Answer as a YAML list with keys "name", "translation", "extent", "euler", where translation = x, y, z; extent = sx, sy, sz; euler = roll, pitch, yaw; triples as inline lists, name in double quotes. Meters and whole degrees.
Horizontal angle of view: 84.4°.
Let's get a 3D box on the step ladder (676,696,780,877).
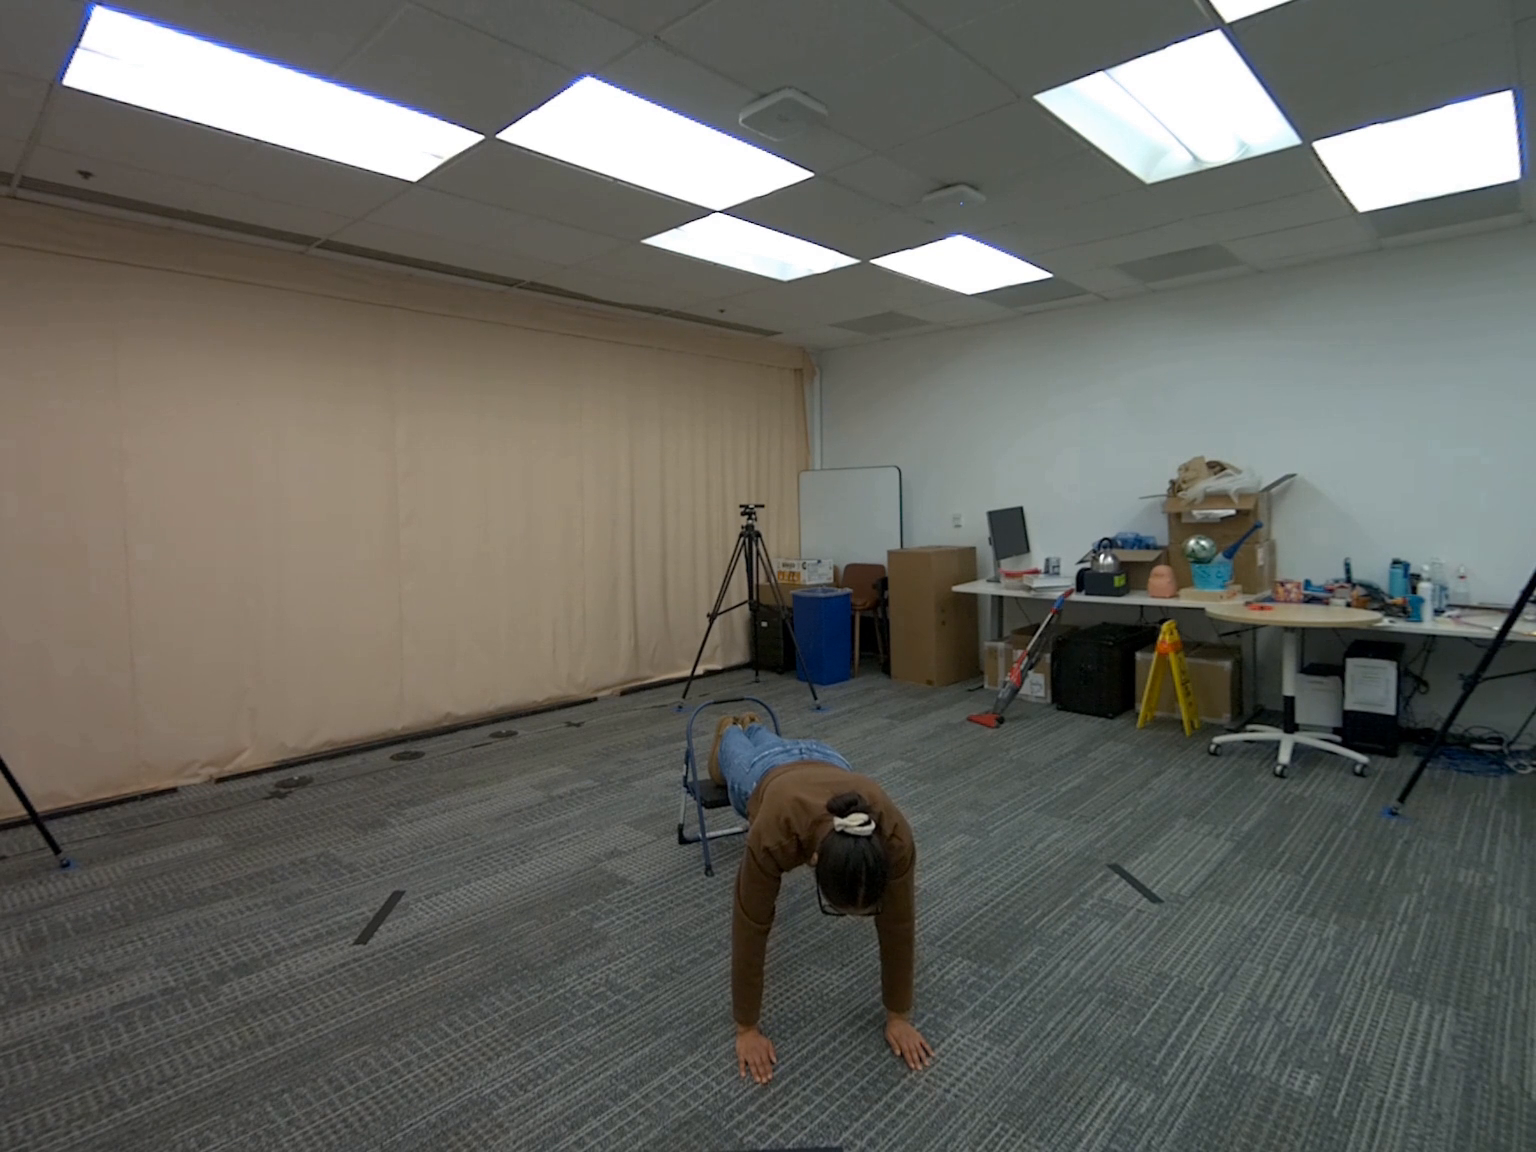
- name: "step ladder"
  translation: [-0.119, 0.806, 3.388]
  extent: [0.420, 0.605, 0.358]
  euler: [-3, 4, -25]
